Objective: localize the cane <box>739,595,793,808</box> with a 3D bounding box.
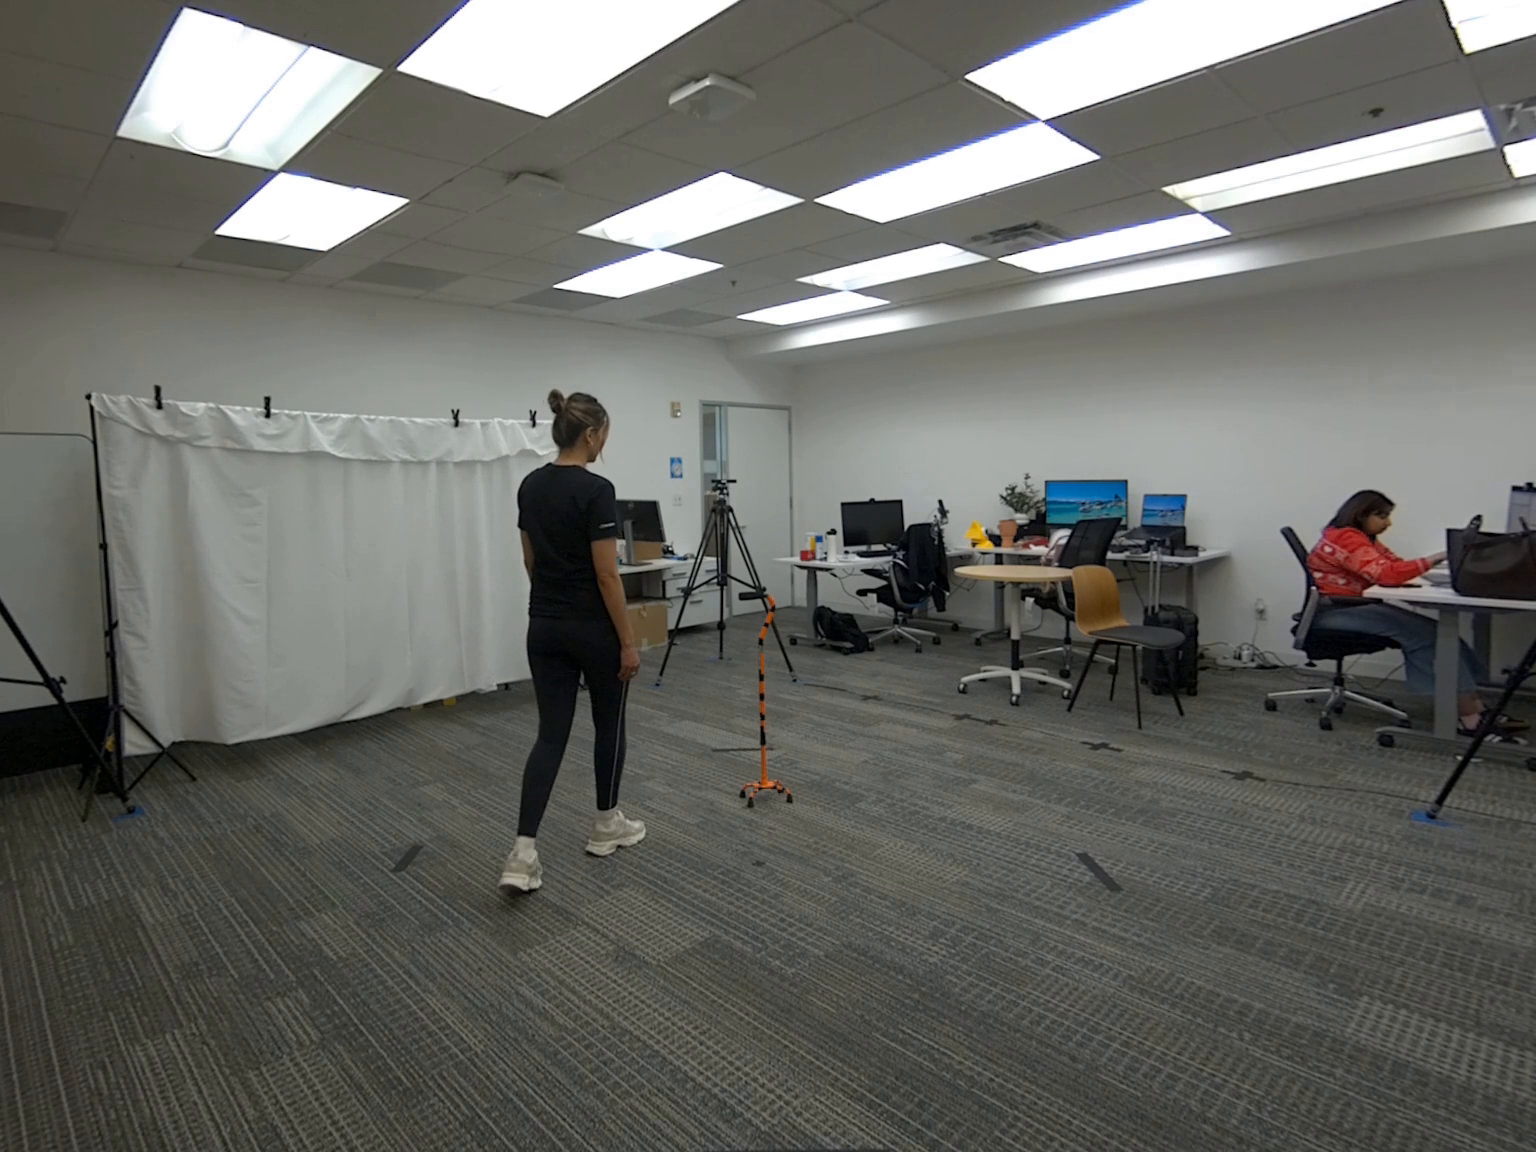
[{"bbox_3d":[-0.021,0.525,3.710,0.204,0.905,0.154,-2,3,-15],"label":"cane"}]
